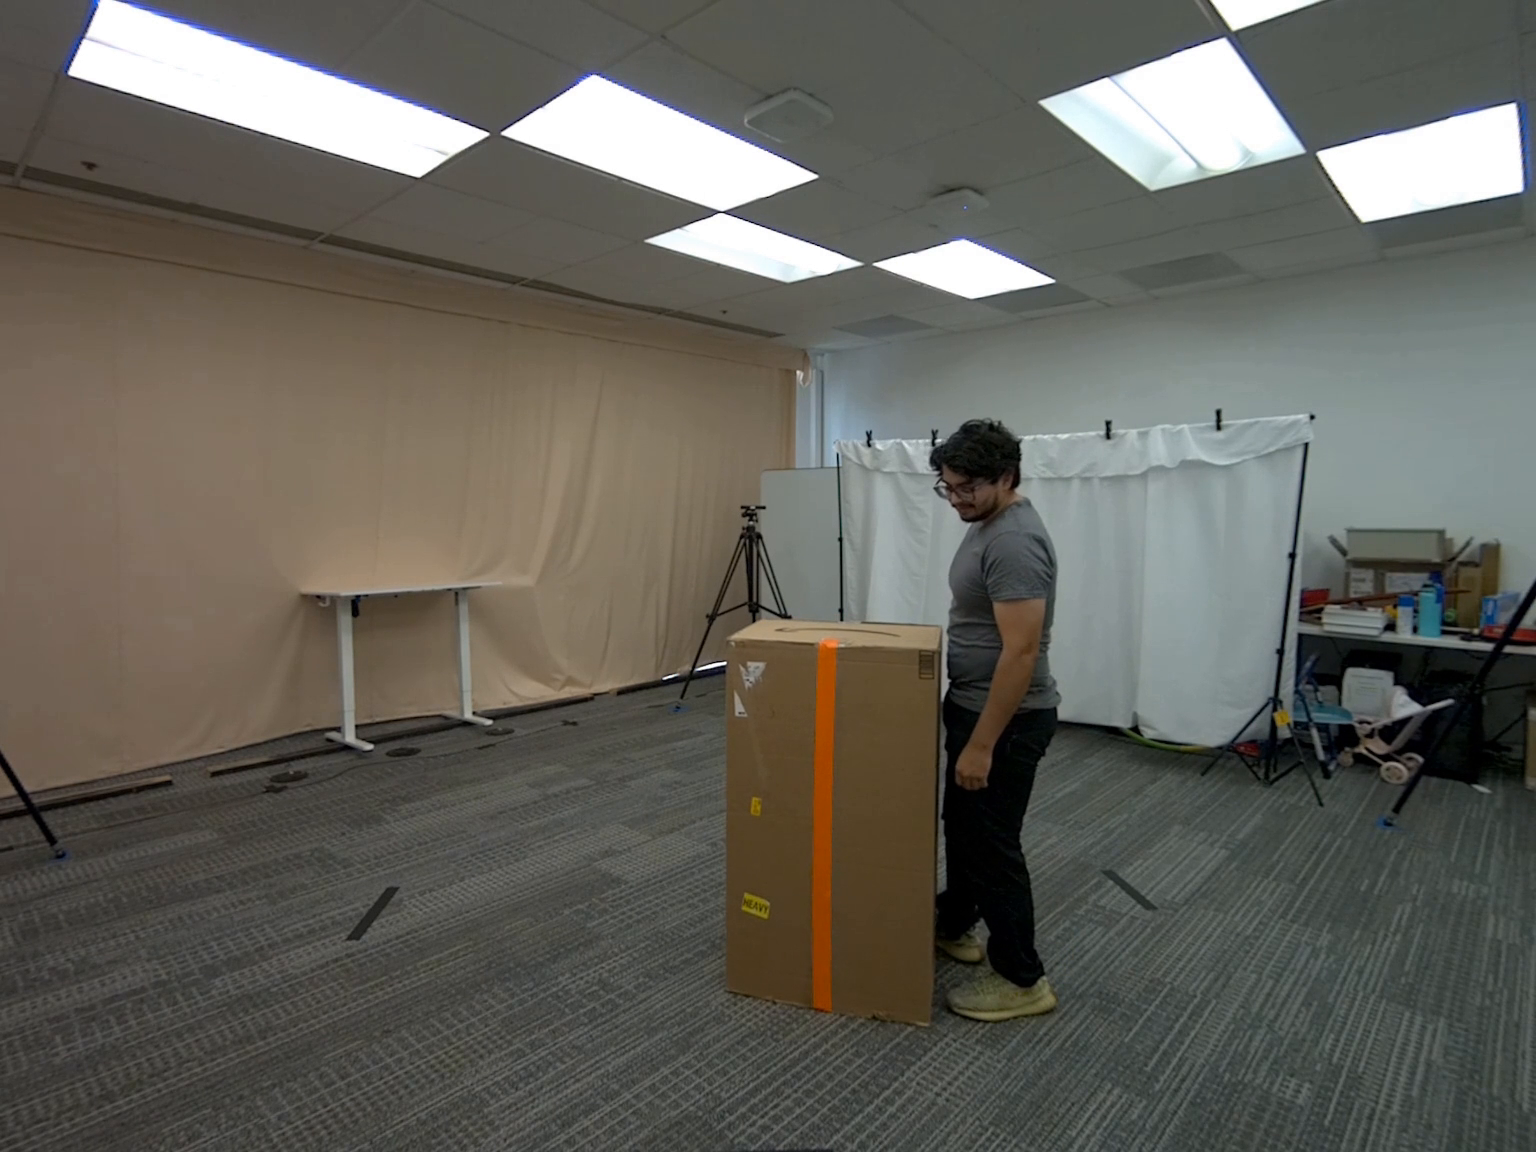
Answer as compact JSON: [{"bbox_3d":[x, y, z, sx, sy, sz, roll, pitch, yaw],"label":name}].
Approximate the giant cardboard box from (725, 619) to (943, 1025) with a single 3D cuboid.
[{"bbox_3d":[0.198,0.680,2.498,0.594,1.025,0.440,1,3,16],"label":"giant cardboard box"}]
